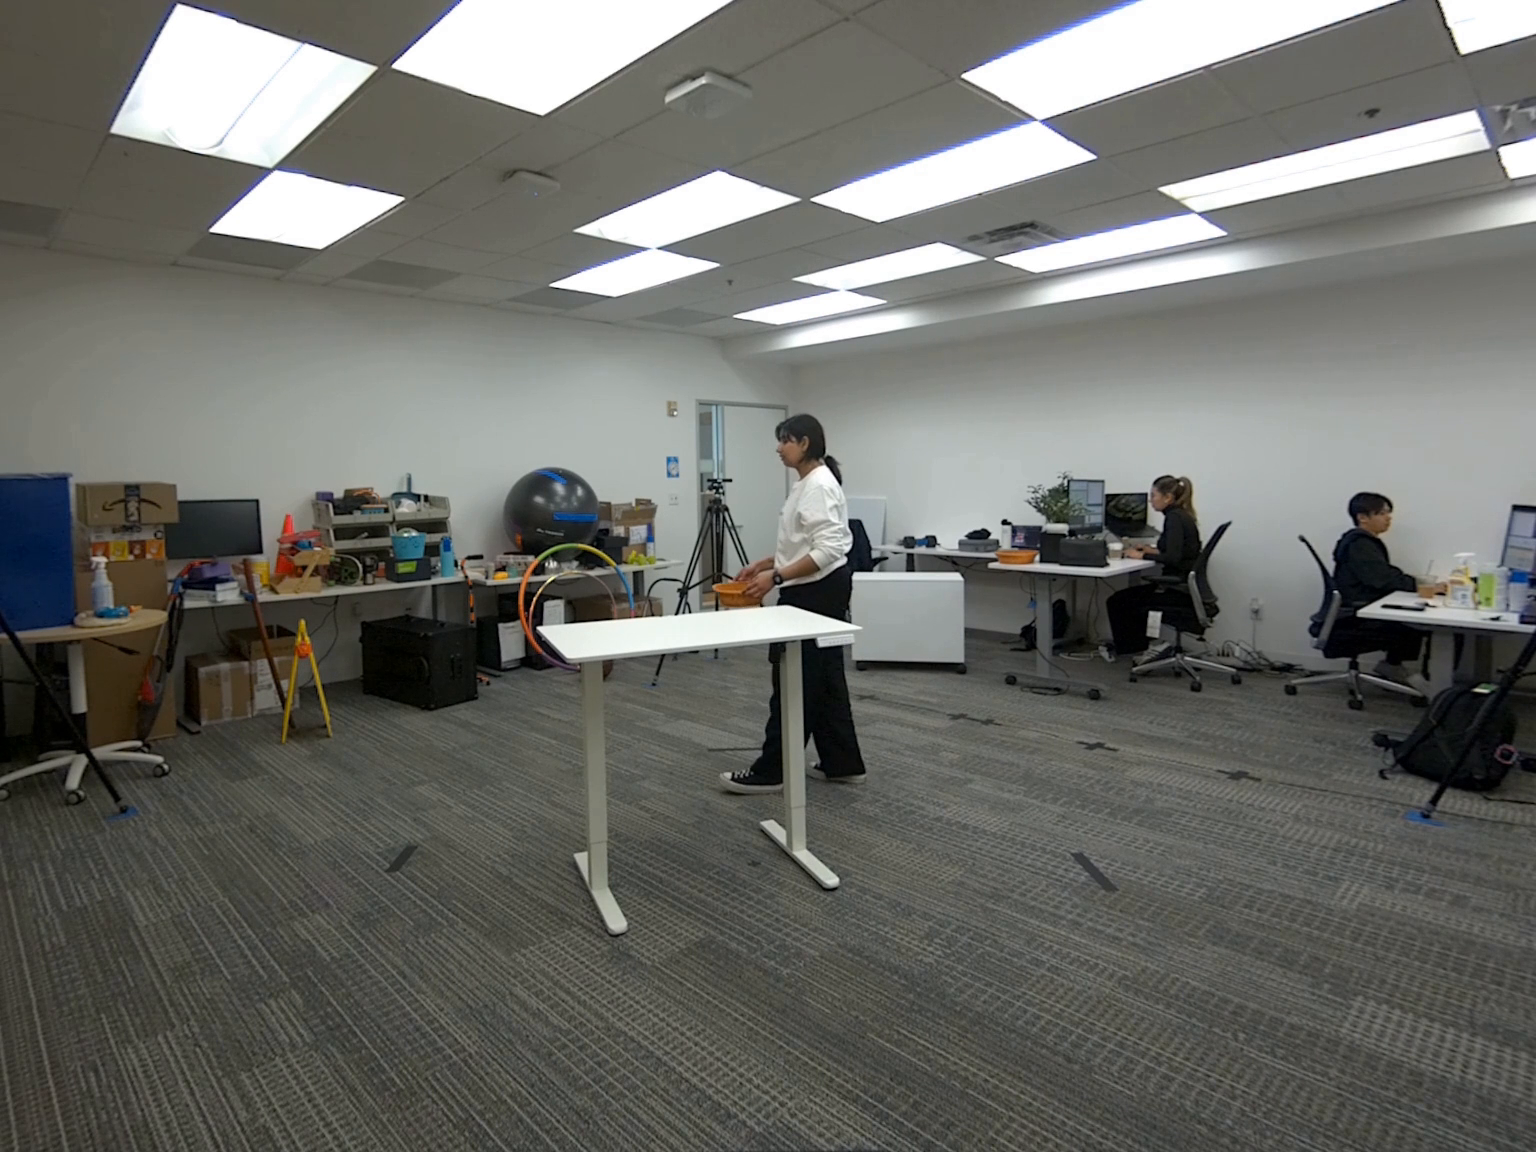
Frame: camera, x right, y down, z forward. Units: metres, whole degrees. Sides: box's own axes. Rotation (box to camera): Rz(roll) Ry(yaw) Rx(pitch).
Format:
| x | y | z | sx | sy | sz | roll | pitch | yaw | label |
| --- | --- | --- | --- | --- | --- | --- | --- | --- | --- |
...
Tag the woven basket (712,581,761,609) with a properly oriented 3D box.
| x | y | z | sx | sy | sz | roll | pitch | yaw | label |
| --- | --- | --- | --- | --- | --- | --- | --- | --- | --- |
| -0.101 | 0.080 | 3.879 | 0.249 | 0.073 | 0.357 | -4 | 5 | -18 | woven basket |
